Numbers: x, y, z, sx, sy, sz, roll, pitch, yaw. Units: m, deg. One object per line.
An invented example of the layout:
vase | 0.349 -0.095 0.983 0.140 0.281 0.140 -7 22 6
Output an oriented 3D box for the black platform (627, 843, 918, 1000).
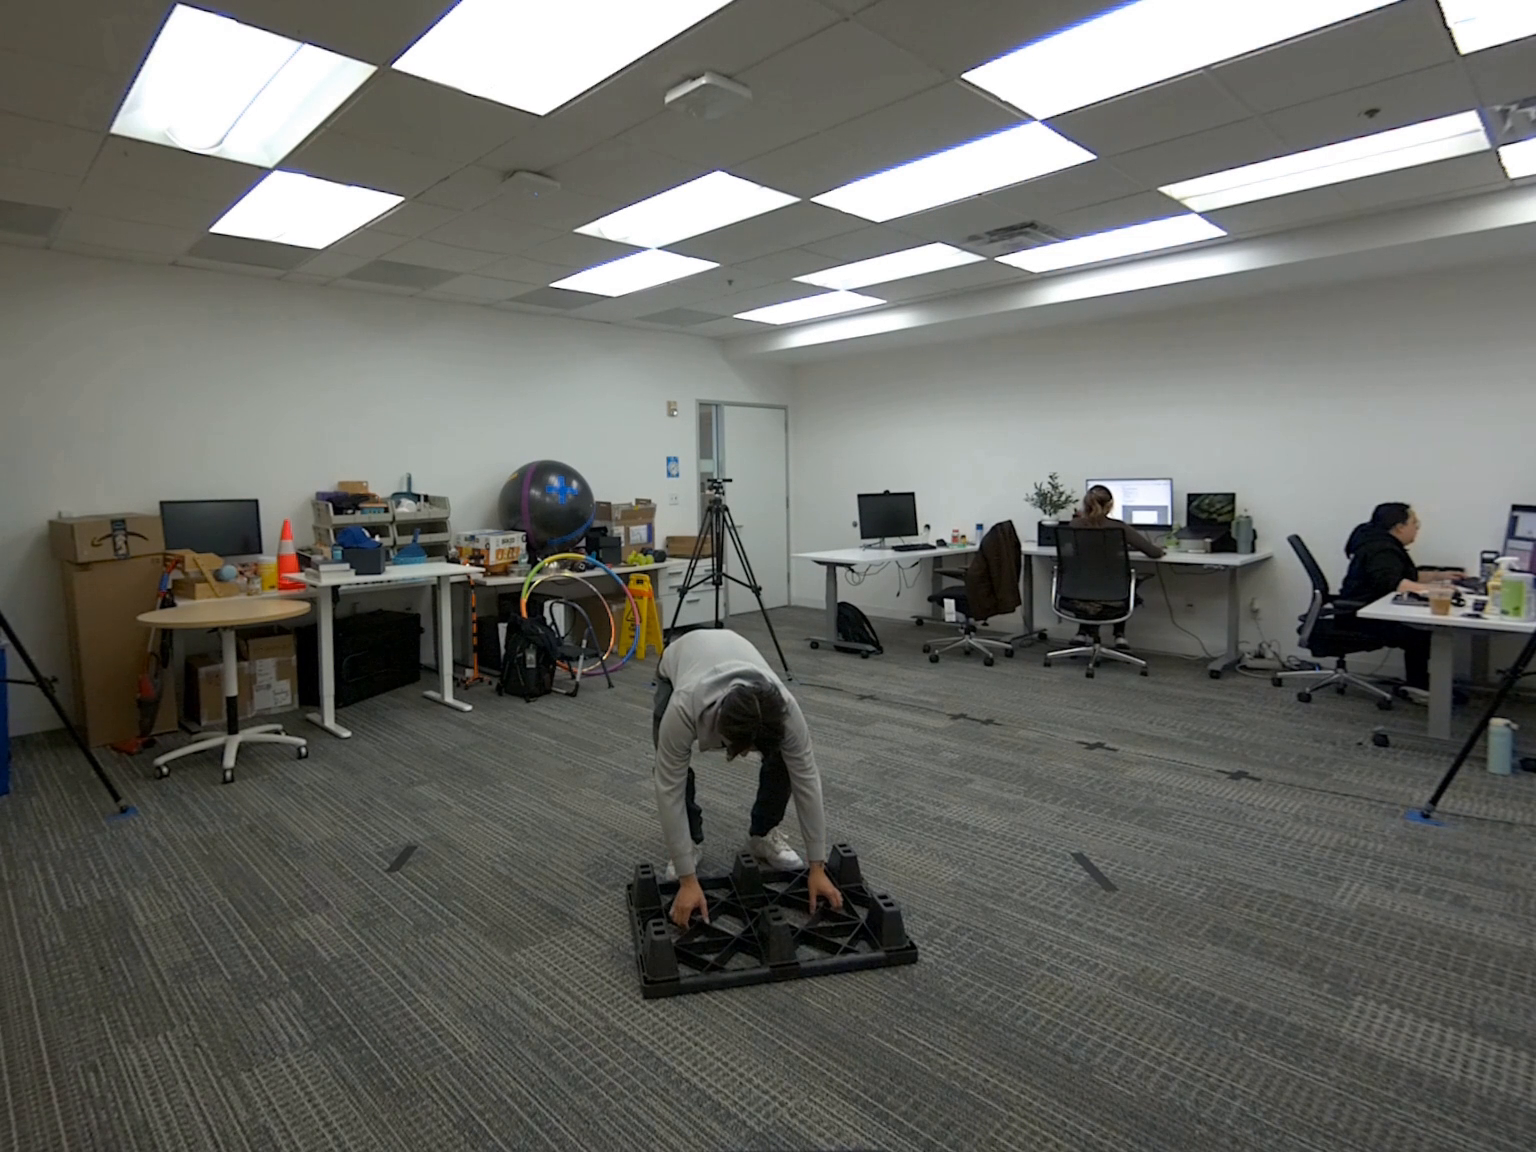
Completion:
black platform | -0.017 1.027 2.666 0.797 0.142 0.615 -2 7 -12
